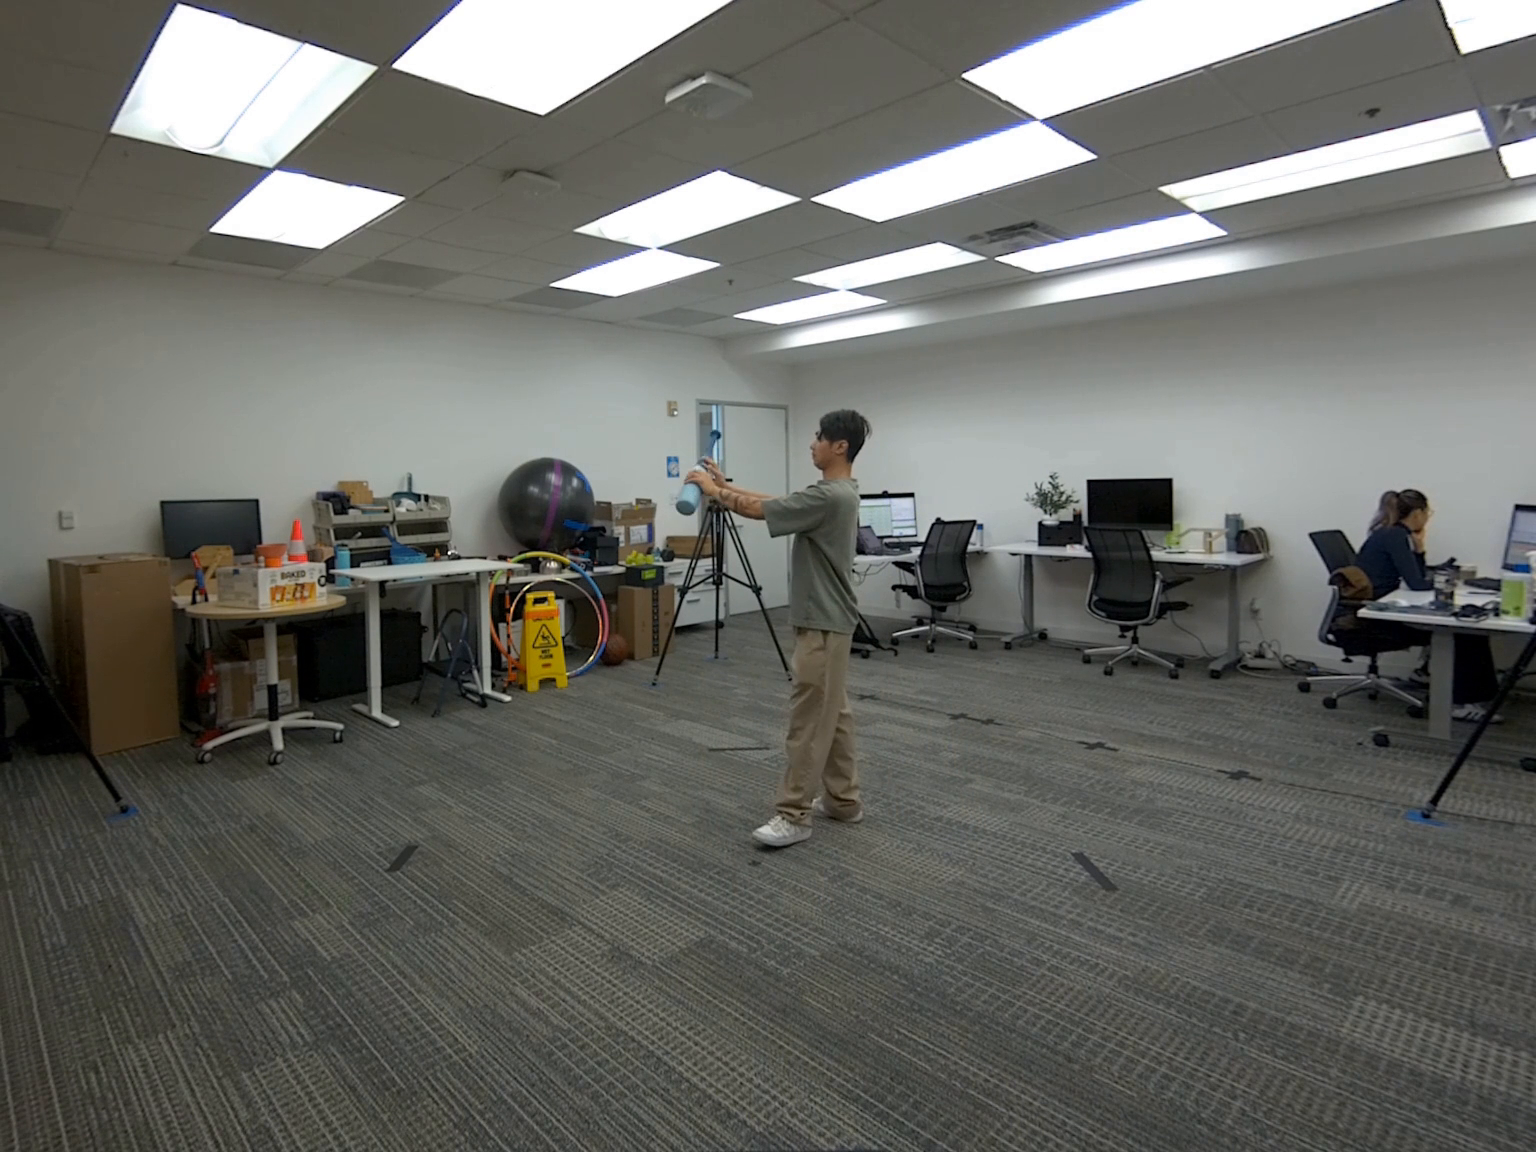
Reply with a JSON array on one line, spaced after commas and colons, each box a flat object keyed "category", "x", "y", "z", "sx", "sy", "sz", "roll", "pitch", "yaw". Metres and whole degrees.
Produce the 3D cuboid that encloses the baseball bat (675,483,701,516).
[{"category": "baseball bat", "x": -0.277, "y": -0.449, "z": 3.595, "sx": 0.090, "sy": 0.086, "sz": 0.552, "roll": 0, "pitch": 41, "yaw": 14}]
